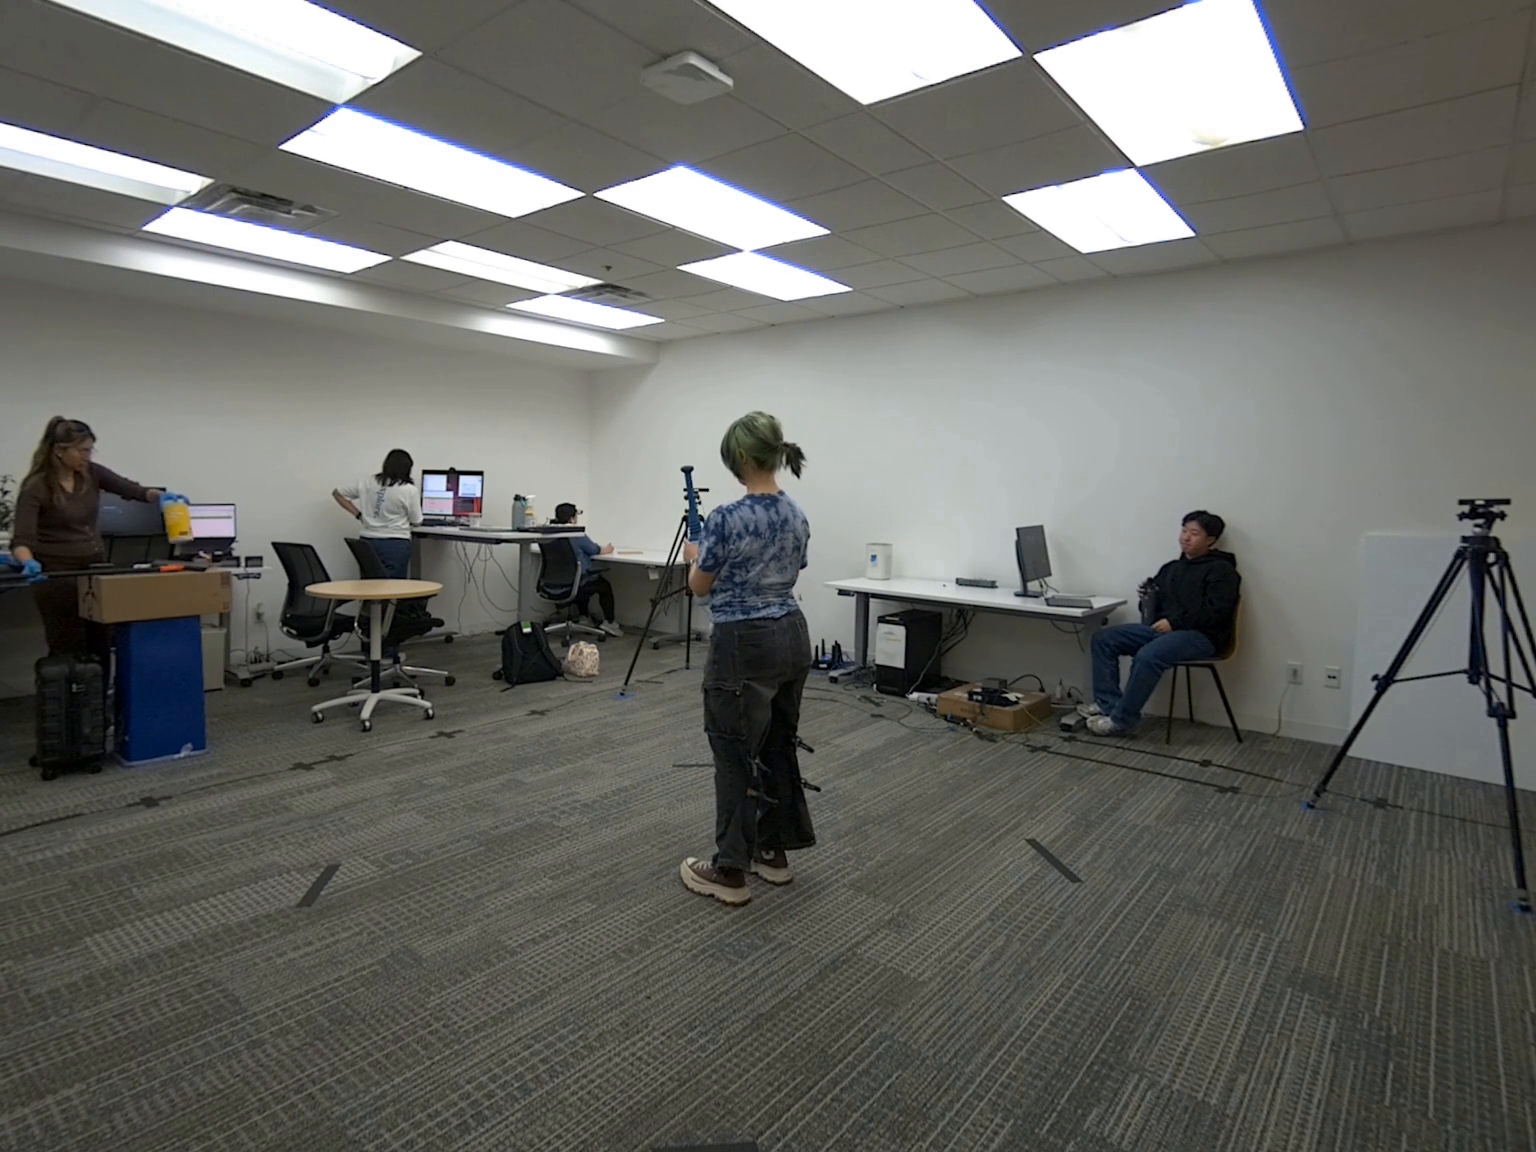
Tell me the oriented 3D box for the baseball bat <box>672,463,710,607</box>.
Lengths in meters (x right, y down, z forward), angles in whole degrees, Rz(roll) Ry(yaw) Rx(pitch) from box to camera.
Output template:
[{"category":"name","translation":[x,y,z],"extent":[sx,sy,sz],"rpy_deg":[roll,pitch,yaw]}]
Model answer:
[{"category":"baseball bat","translation":[-0.288,-0.161,3.269],"extent":[0.089,0.544,0.089],"rpy_deg":[-9,-1,-2]}]
